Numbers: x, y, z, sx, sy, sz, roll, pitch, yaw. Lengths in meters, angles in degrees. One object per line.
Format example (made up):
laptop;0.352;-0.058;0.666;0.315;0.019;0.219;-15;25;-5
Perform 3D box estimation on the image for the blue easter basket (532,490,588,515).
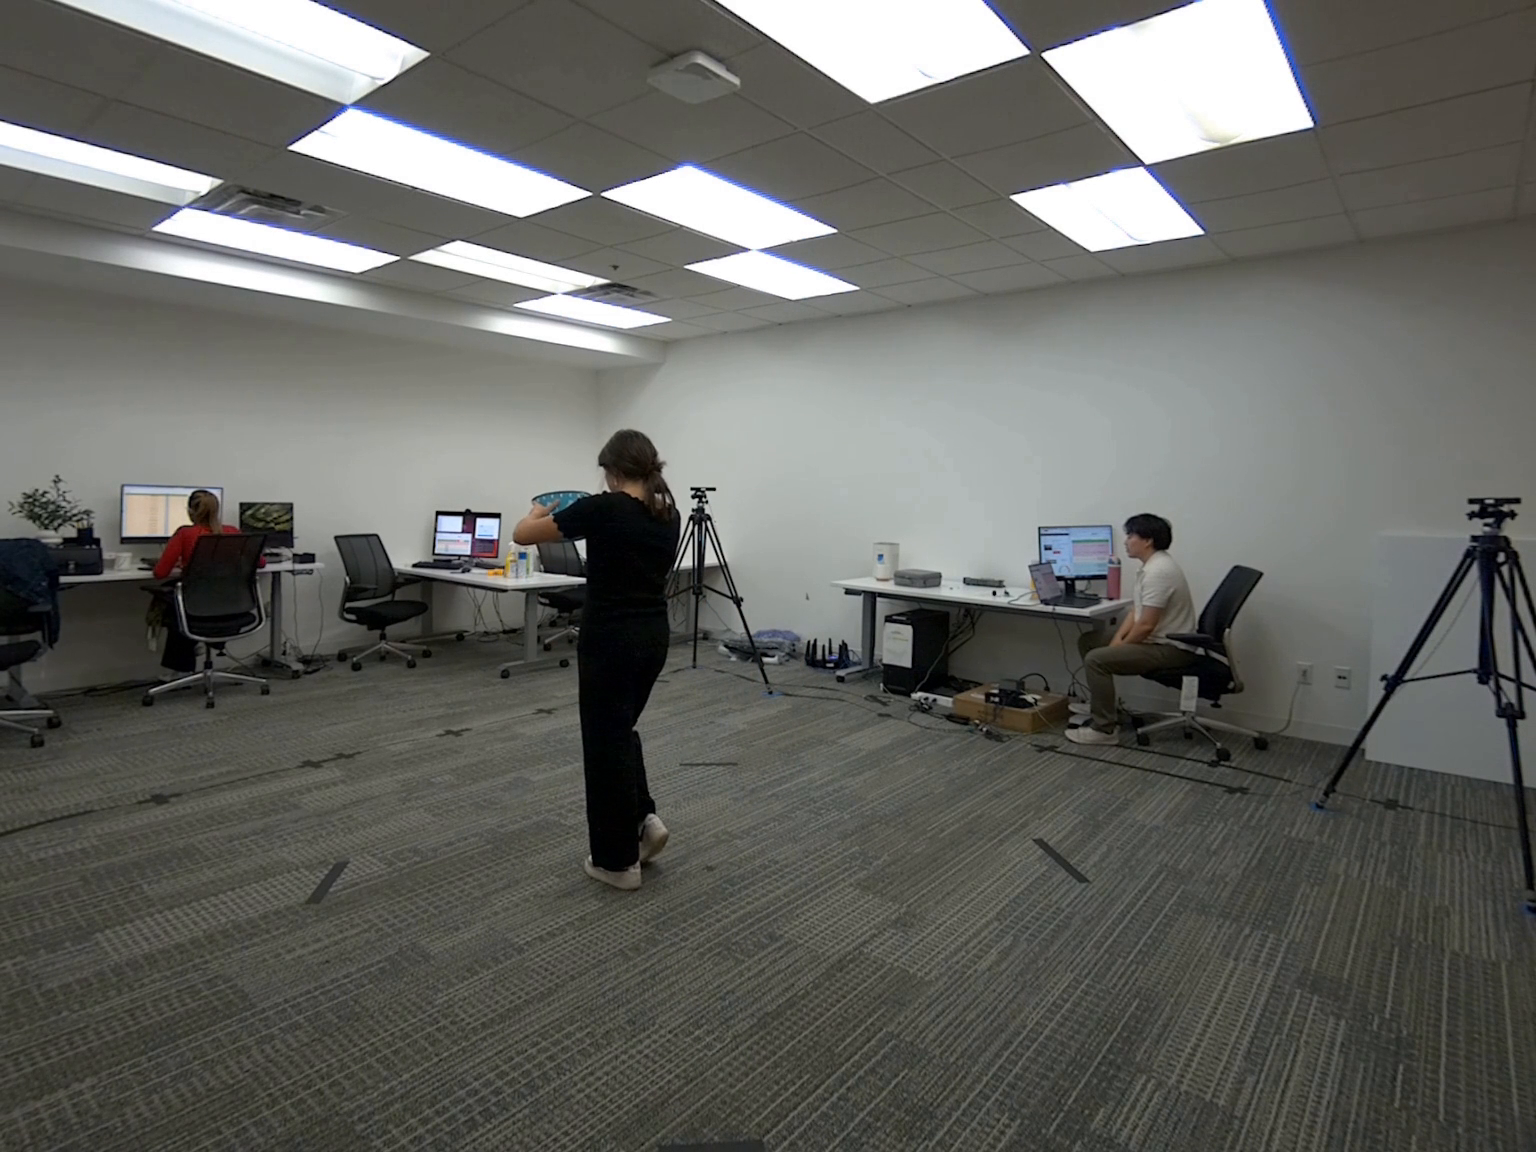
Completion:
blue easter basket;-0.792;-0.227;3.224;0.243;0.157;0.241;-4;-9;-3
